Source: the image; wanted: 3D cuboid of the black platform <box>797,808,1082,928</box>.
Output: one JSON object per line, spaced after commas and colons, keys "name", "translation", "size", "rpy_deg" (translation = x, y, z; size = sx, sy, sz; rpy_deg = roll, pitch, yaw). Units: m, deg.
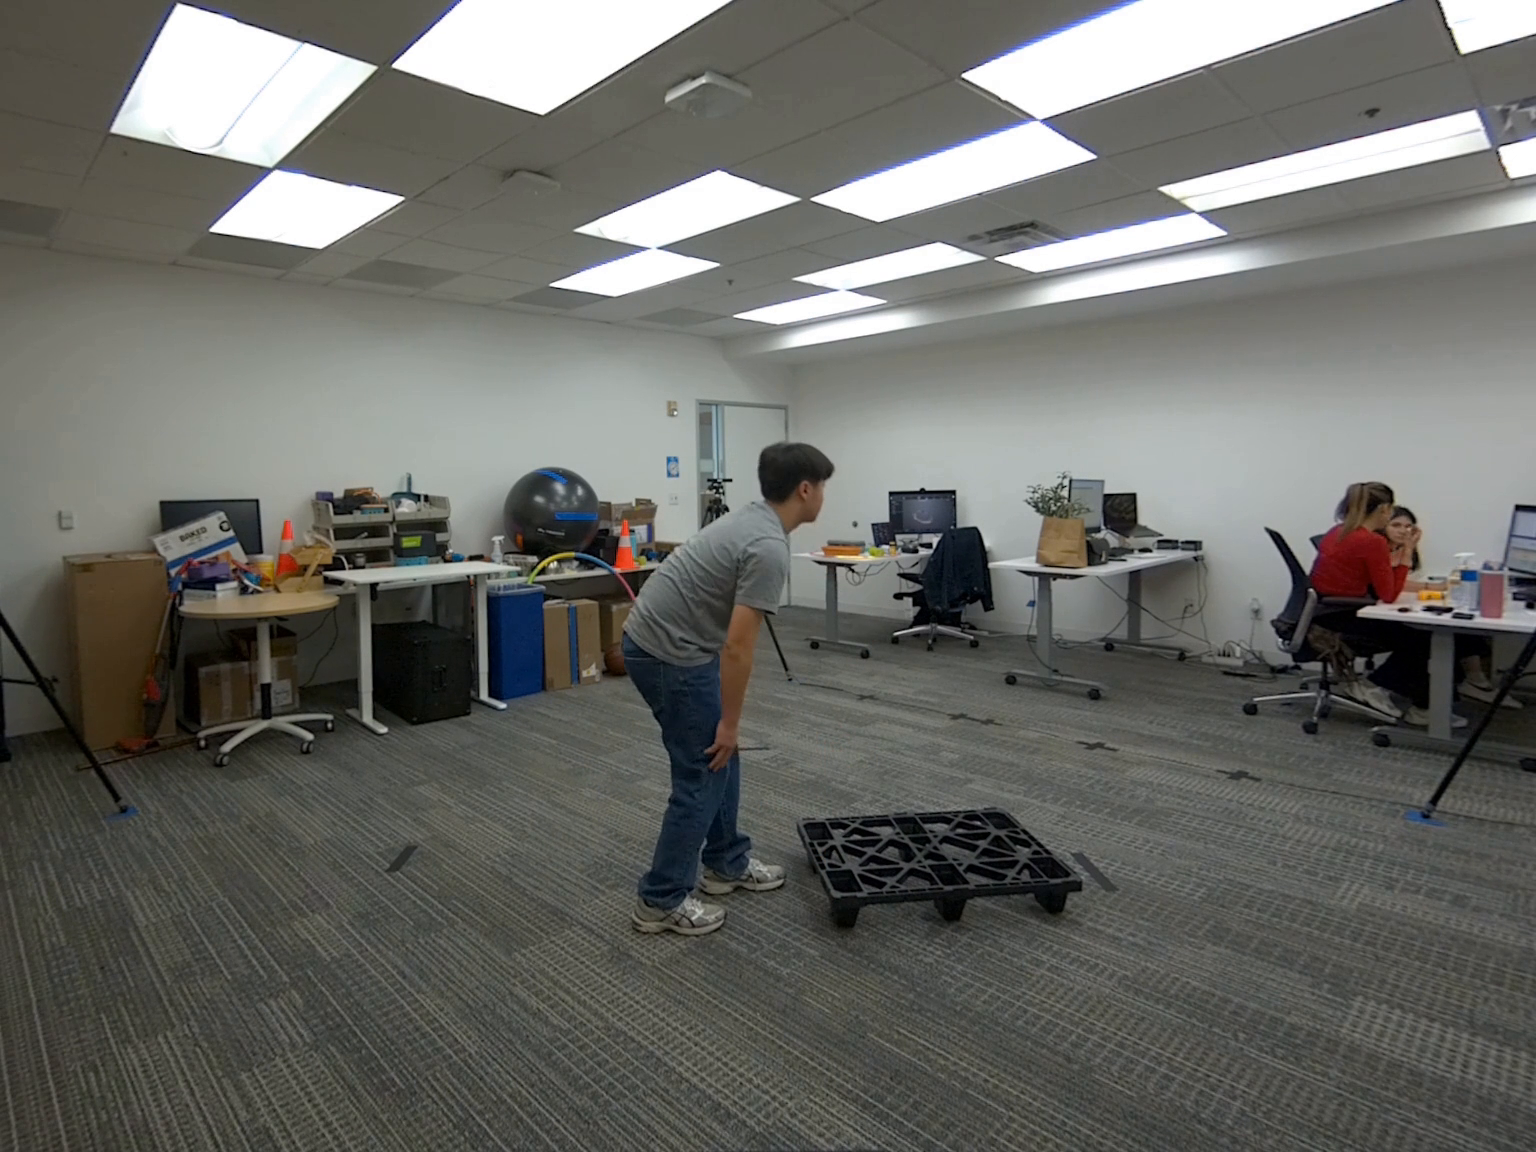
{"name": "black platform", "translation": [0.546, 0.991, 2.918], "size": [0.801, 0.143, 0.612], "rpy_deg": [-2, 6, -7]}
